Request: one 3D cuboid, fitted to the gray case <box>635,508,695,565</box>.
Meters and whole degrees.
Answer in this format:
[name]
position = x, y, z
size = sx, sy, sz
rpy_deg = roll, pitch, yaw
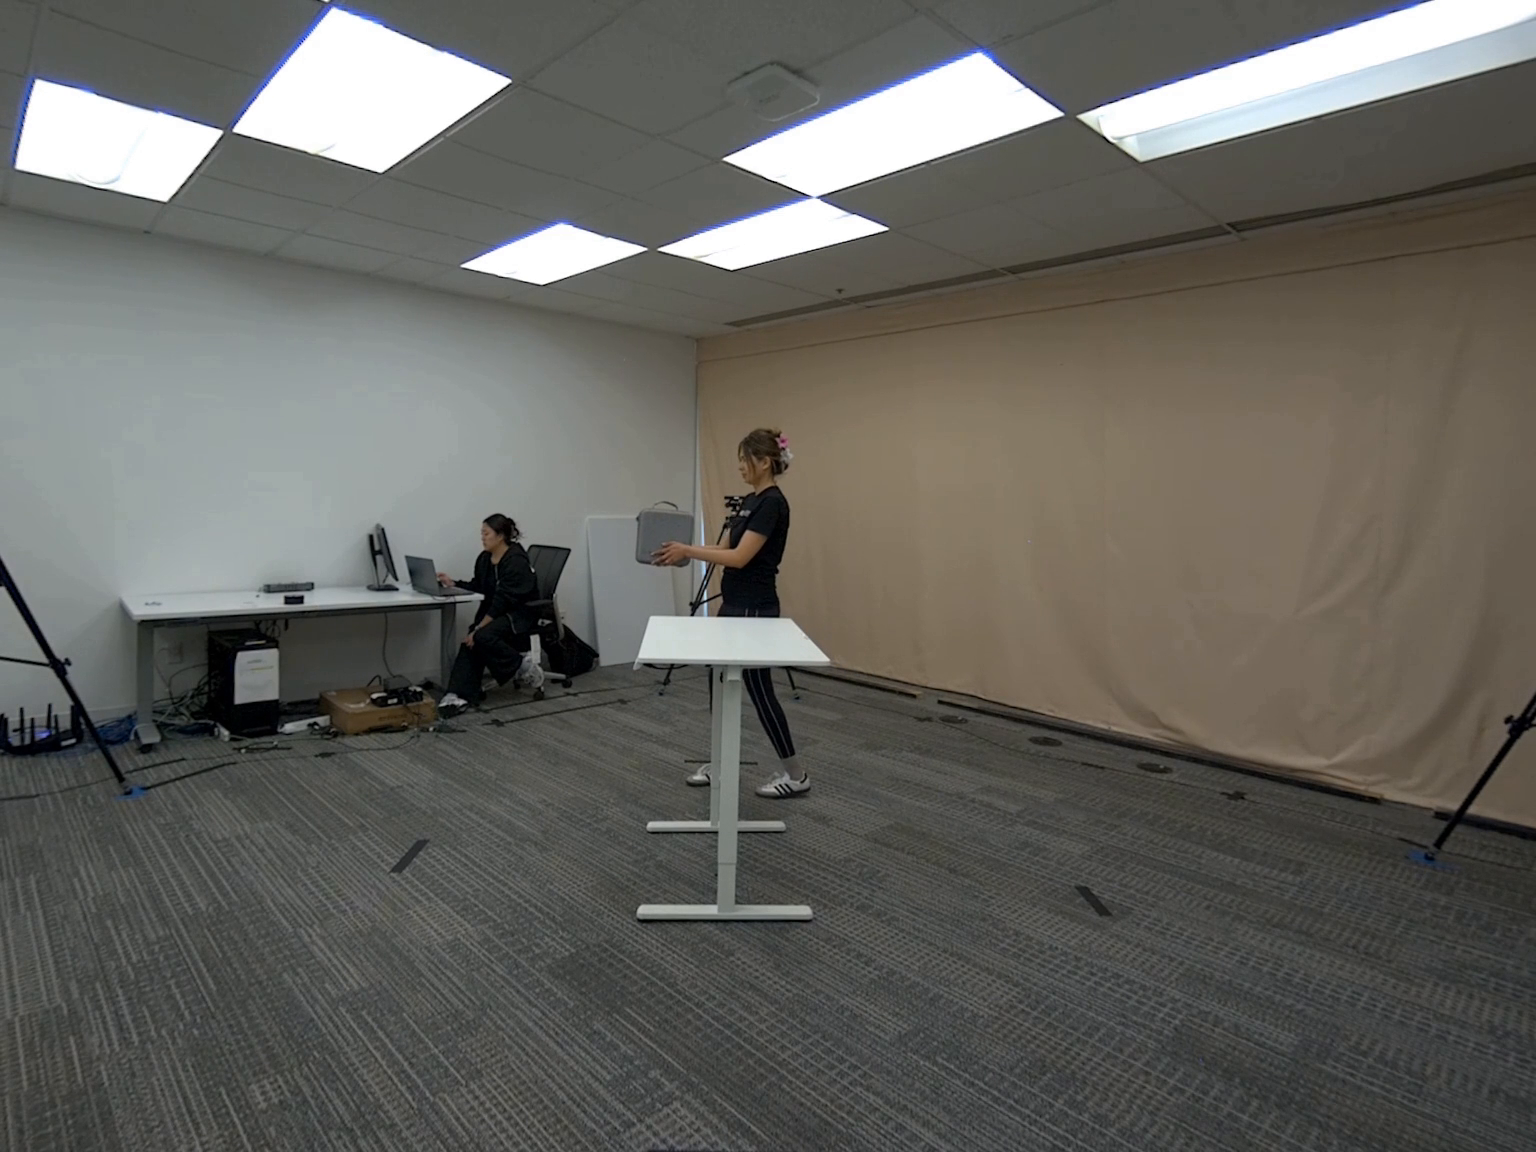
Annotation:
[gray case]
position = -0.499, -0.188, 3.917
size = 0.253, 0.261, 0.106
rpy_deg = 4, 0, -17
